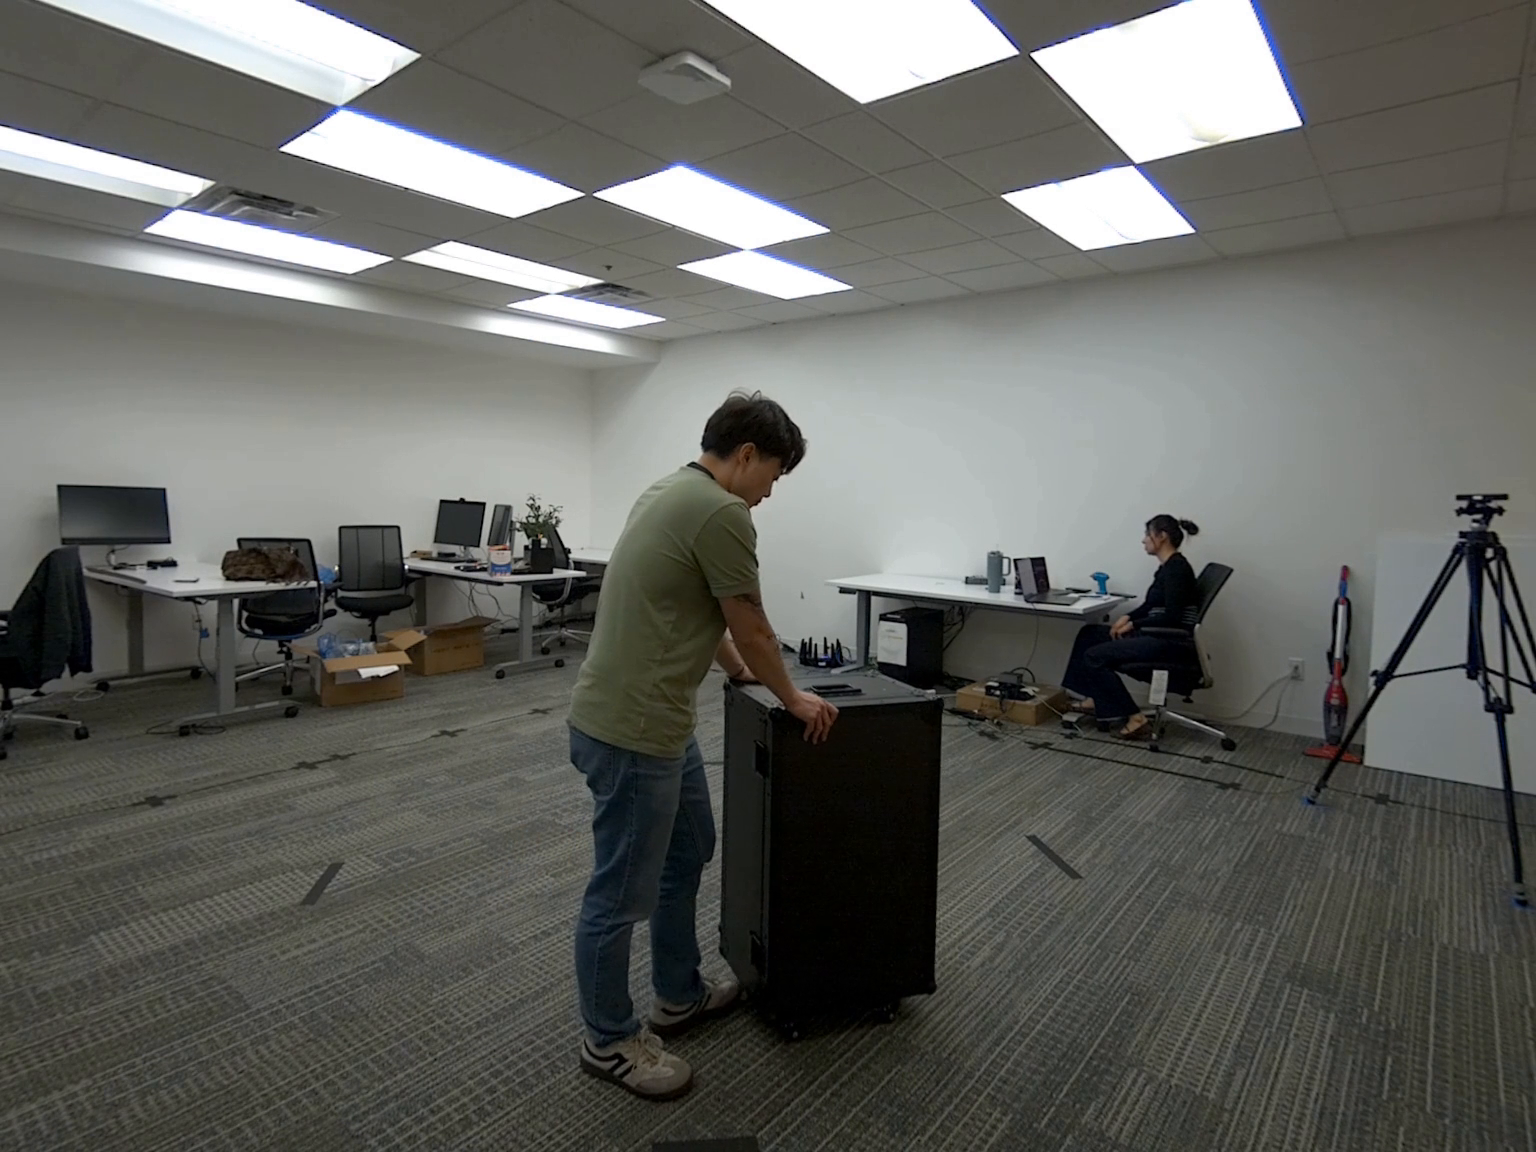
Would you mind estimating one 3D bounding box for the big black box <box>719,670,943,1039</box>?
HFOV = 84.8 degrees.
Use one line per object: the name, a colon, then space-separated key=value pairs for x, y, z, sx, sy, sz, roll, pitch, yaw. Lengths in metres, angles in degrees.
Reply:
big black box: x=0.148 y=0.727 z=2.321 sx=0.511 sy=0.860 sz=0.405 roll=0 pitch=3 yaw=-20
